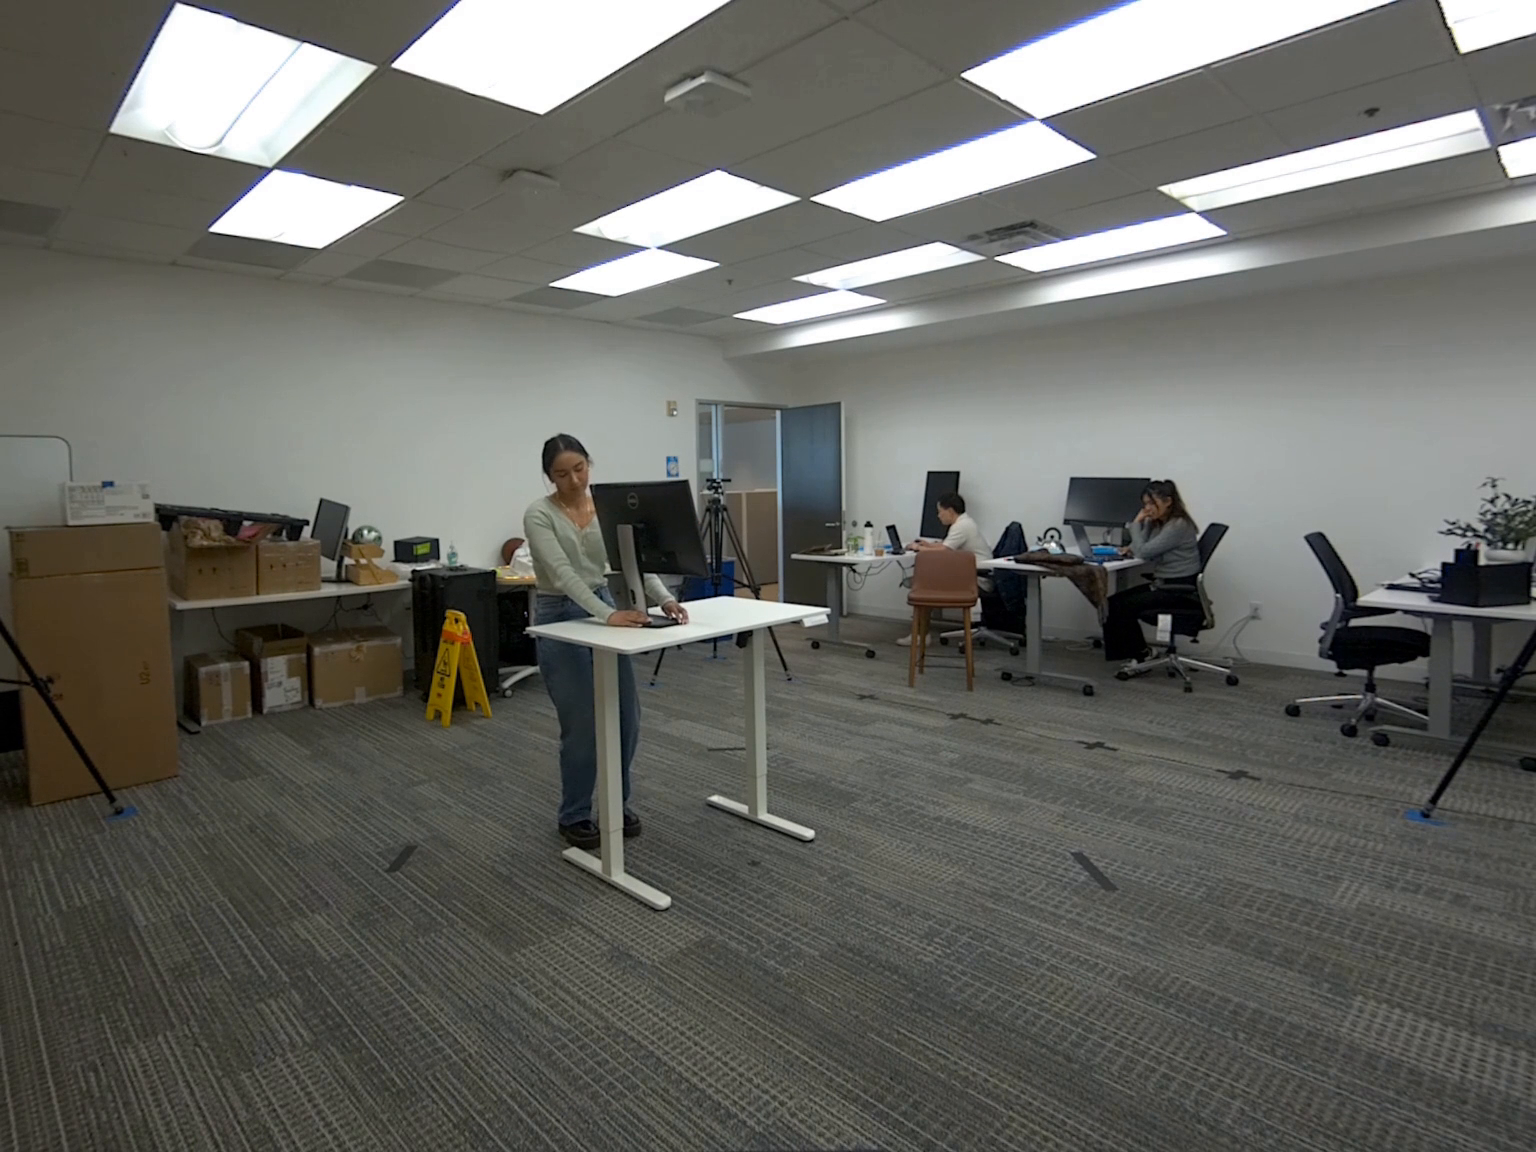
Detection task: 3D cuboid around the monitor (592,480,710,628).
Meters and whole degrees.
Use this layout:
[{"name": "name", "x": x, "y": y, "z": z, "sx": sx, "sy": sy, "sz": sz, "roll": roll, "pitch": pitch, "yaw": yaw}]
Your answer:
[{"name": "monitor", "x": -0.446, "y": -0.087, "z": 3.092, "sx": 0.545, "sy": 0.516, "sz": 0.170, "roll": 1, "pitch": 2, "yaw": 42}]
